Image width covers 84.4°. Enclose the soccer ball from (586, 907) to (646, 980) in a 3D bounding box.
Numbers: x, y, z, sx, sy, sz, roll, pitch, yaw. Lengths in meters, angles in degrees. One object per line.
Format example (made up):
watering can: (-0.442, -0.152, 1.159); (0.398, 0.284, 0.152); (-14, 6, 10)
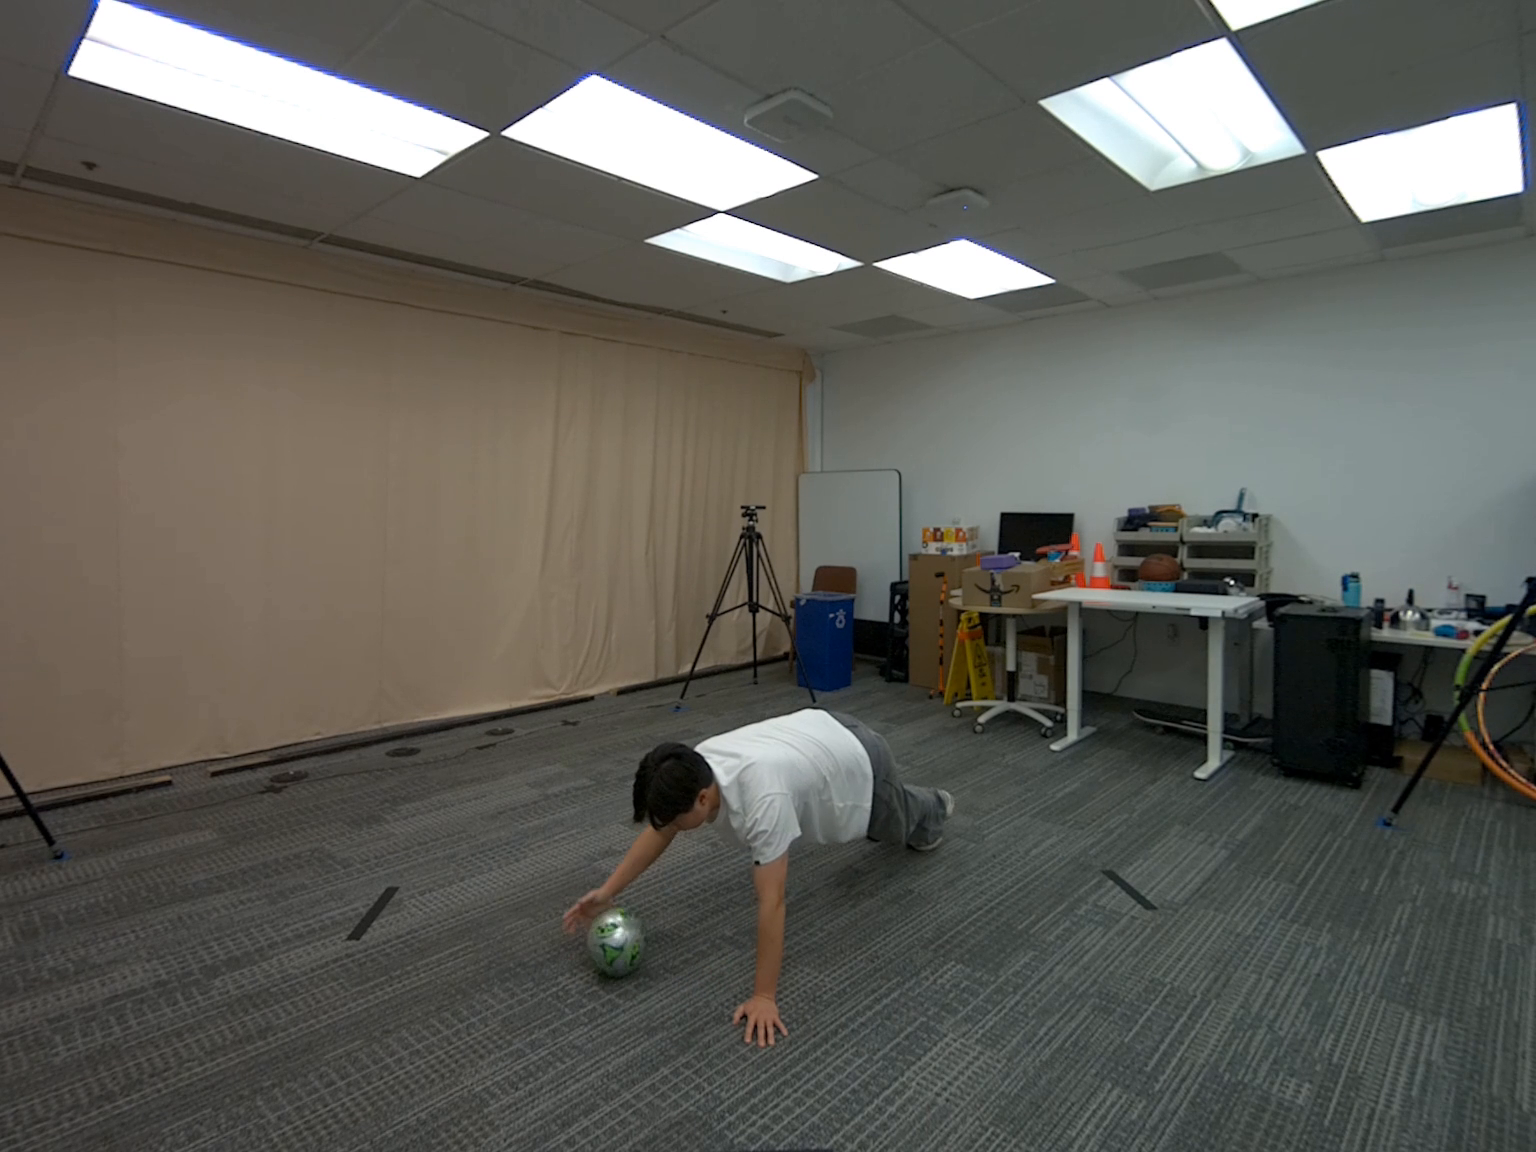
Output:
soccer ball: (-0.439, 1.101, 2.502); (0.187, 0.187, 0.188); (0, 4, -2)
